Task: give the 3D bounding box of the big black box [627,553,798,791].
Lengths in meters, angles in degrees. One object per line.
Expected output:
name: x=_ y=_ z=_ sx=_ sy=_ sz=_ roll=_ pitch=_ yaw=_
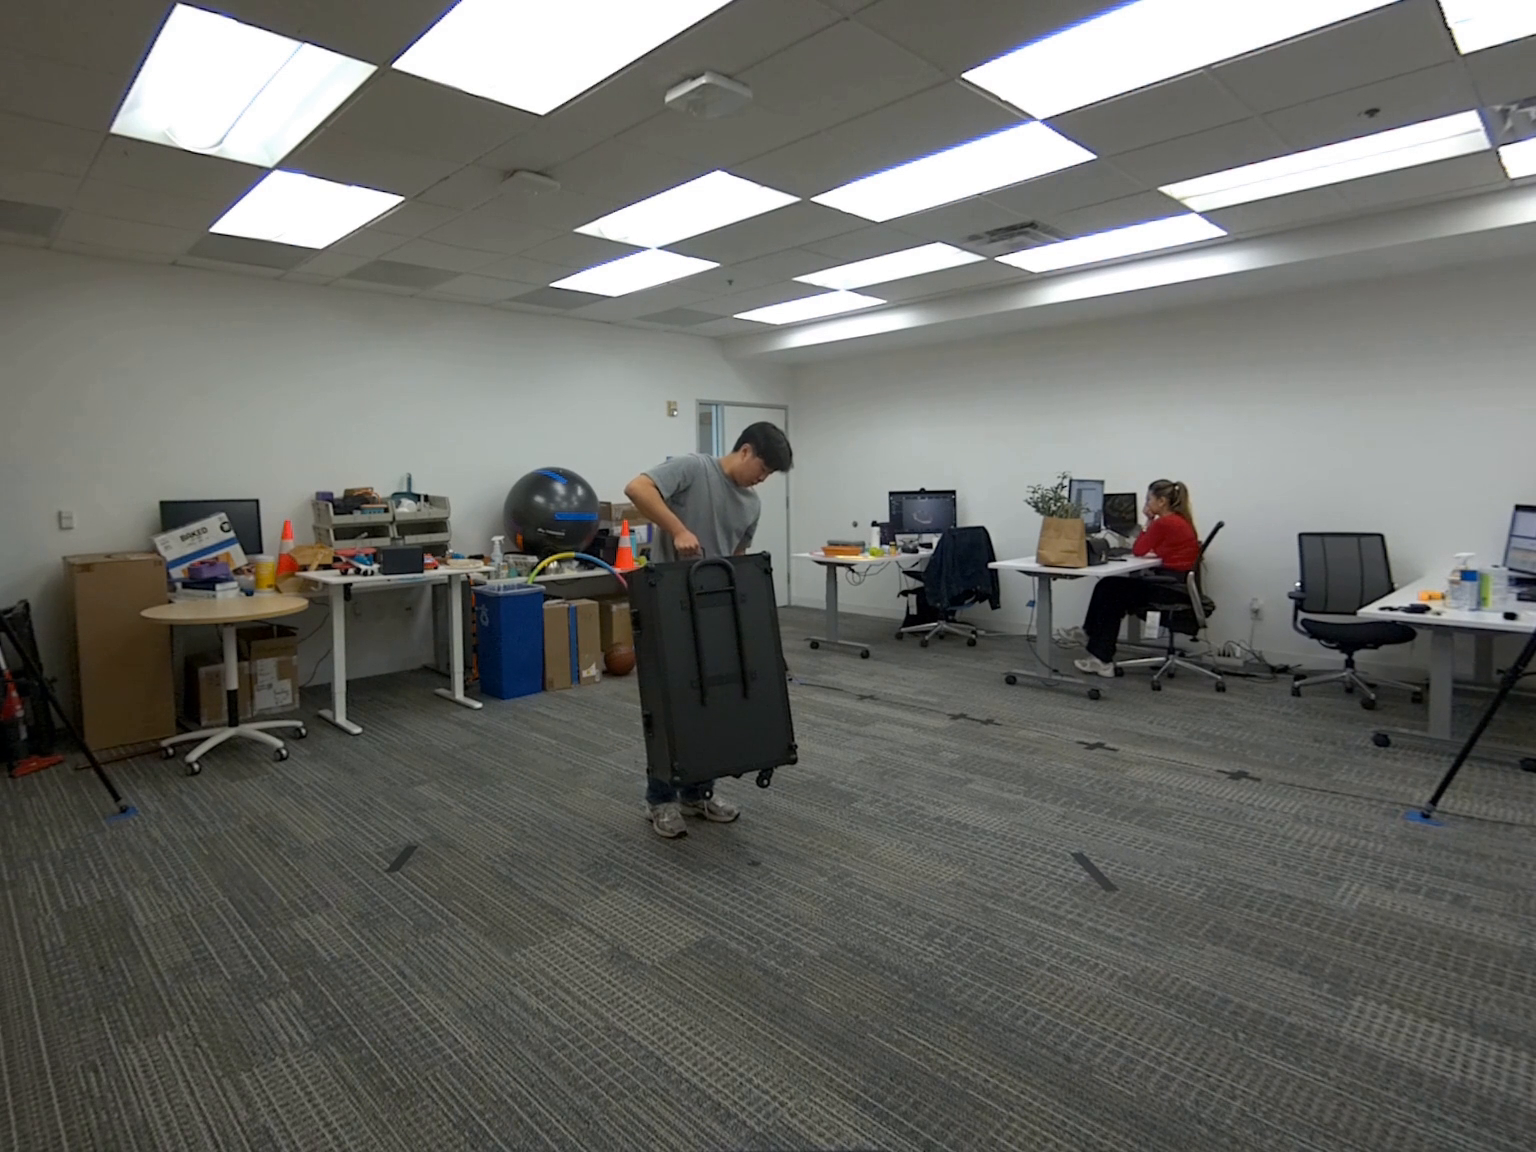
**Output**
big black box: x=-0.233 y=0.312 z=3.234 sx=0.512 sy=0.866 sz=0.401 roll=-5 pitch=-6 yaw=-20
